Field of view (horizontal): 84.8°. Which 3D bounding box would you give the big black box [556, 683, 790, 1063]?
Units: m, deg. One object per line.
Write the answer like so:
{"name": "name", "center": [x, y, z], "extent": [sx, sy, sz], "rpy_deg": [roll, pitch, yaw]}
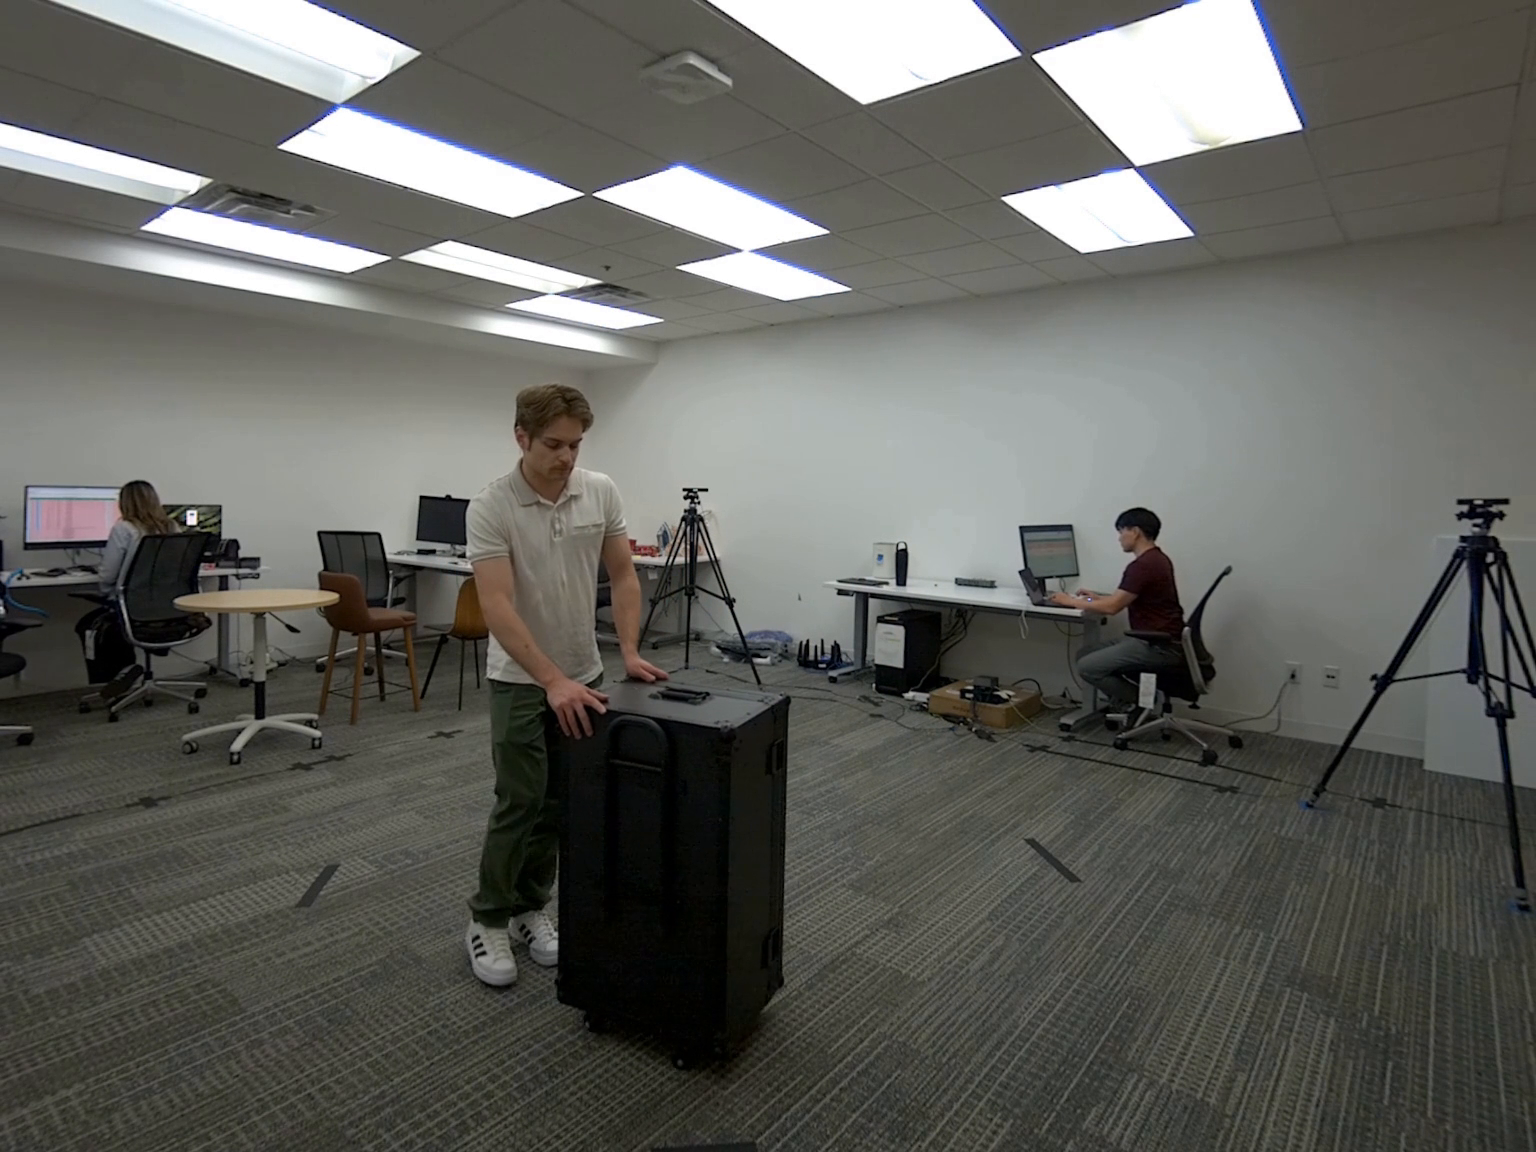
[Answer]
{"name": "big black box", "center": [-0.242, 0.739, 2.188], "extent": [0.537, 0.866, 0.377], "rpy_deg": [3, 4, 24]}
